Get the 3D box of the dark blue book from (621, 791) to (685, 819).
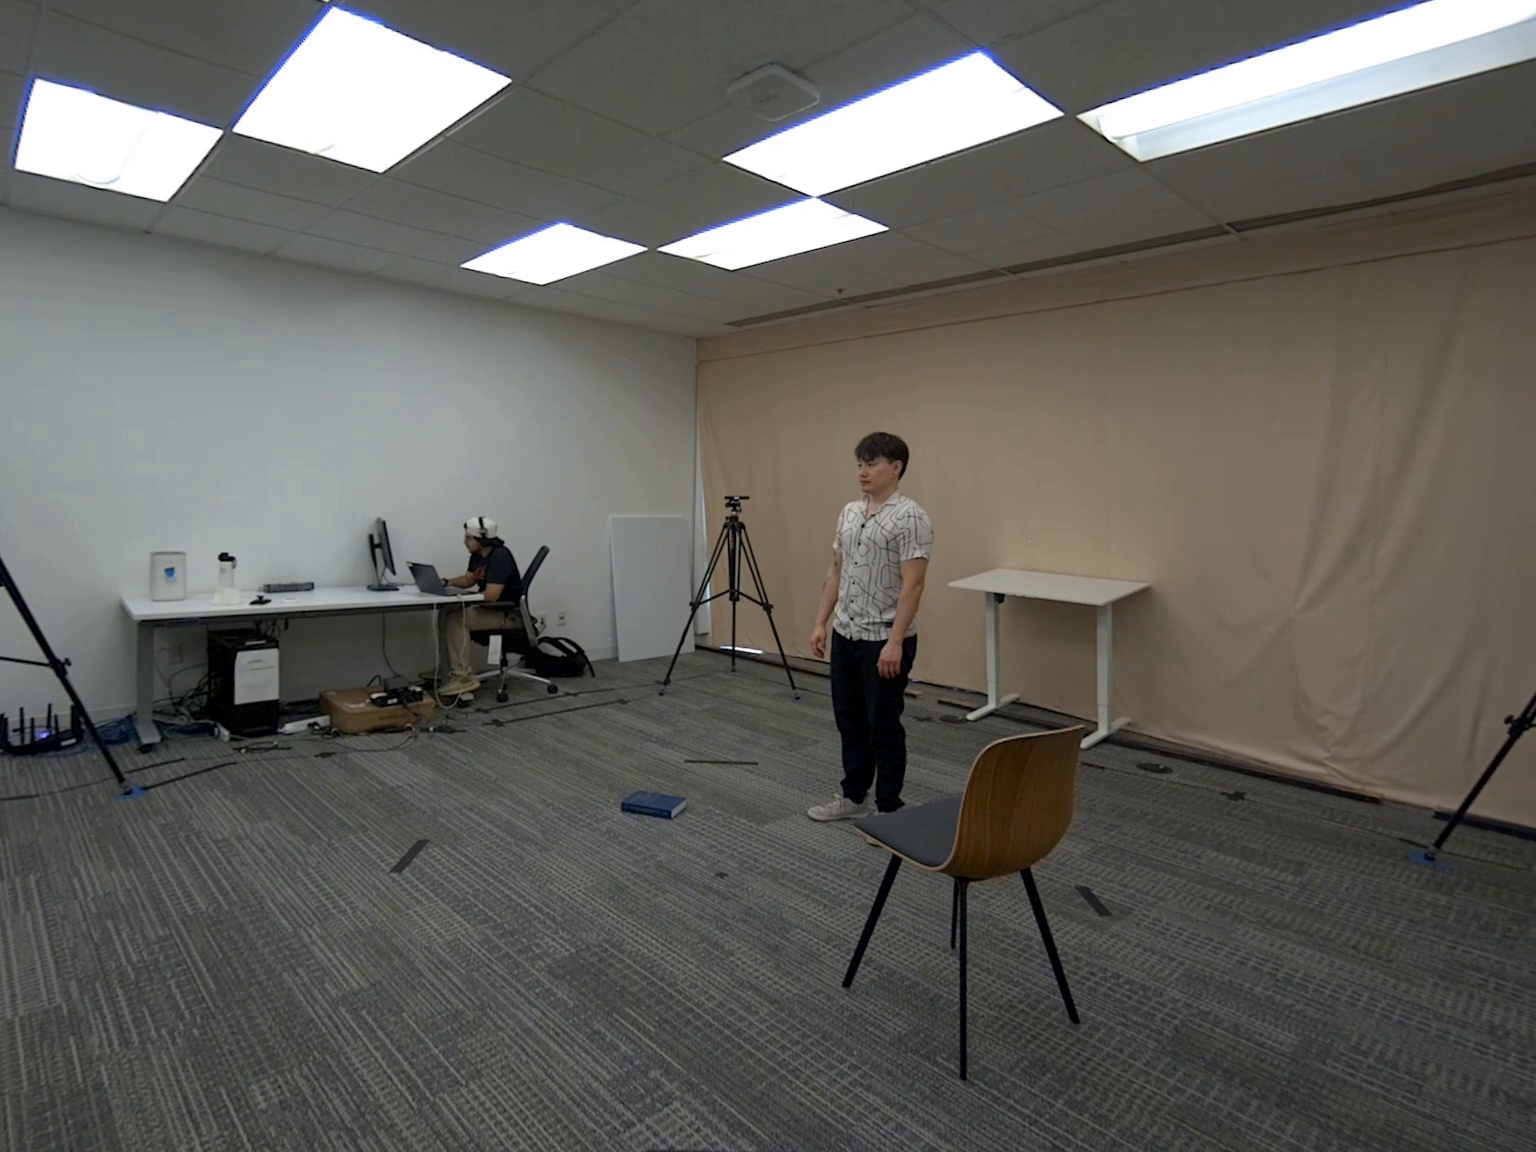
[{"bbox_3d":[-0.510,1.008,3.743,0.249,0.045,0.161,3,4,20],"label":"dark blue book"}]
